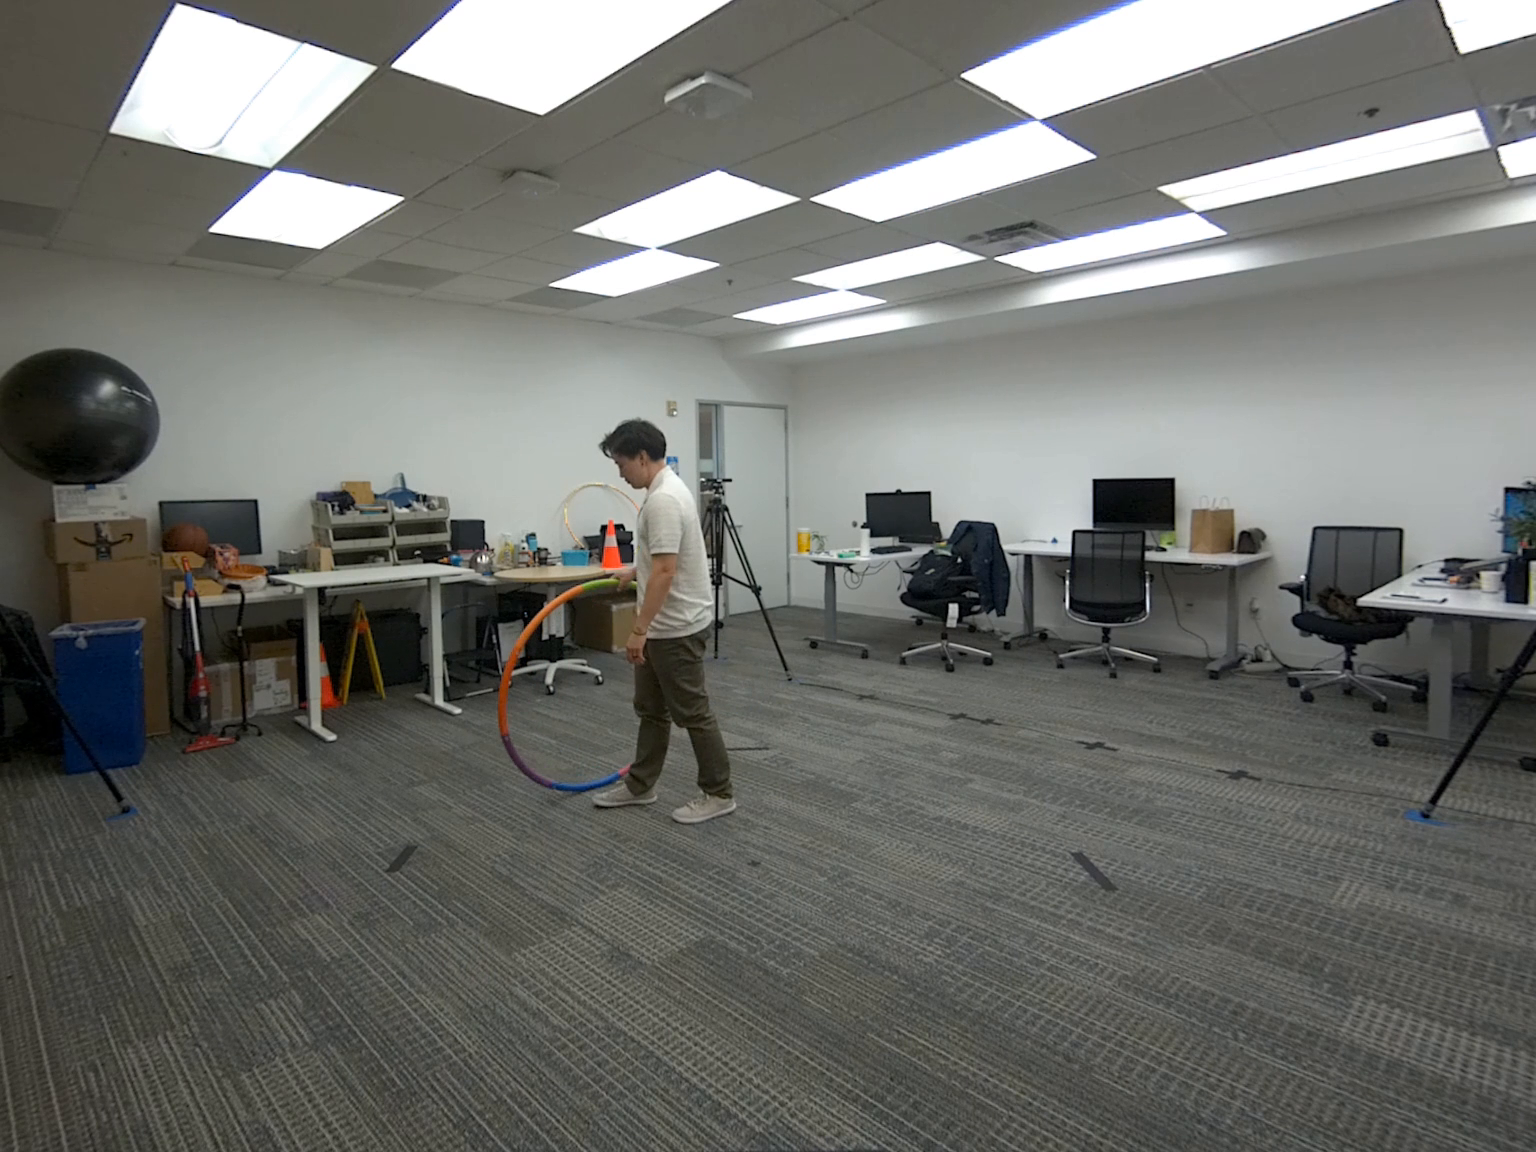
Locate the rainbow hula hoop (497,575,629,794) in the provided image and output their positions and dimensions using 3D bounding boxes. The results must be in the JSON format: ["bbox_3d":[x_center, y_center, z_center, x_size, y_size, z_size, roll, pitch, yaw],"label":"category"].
[{"bbox_3d":[-0.744,0.494,3.837,0.953,0.970,0.037,-5,14,-41],"label":"rainbow hula hoop"}]
